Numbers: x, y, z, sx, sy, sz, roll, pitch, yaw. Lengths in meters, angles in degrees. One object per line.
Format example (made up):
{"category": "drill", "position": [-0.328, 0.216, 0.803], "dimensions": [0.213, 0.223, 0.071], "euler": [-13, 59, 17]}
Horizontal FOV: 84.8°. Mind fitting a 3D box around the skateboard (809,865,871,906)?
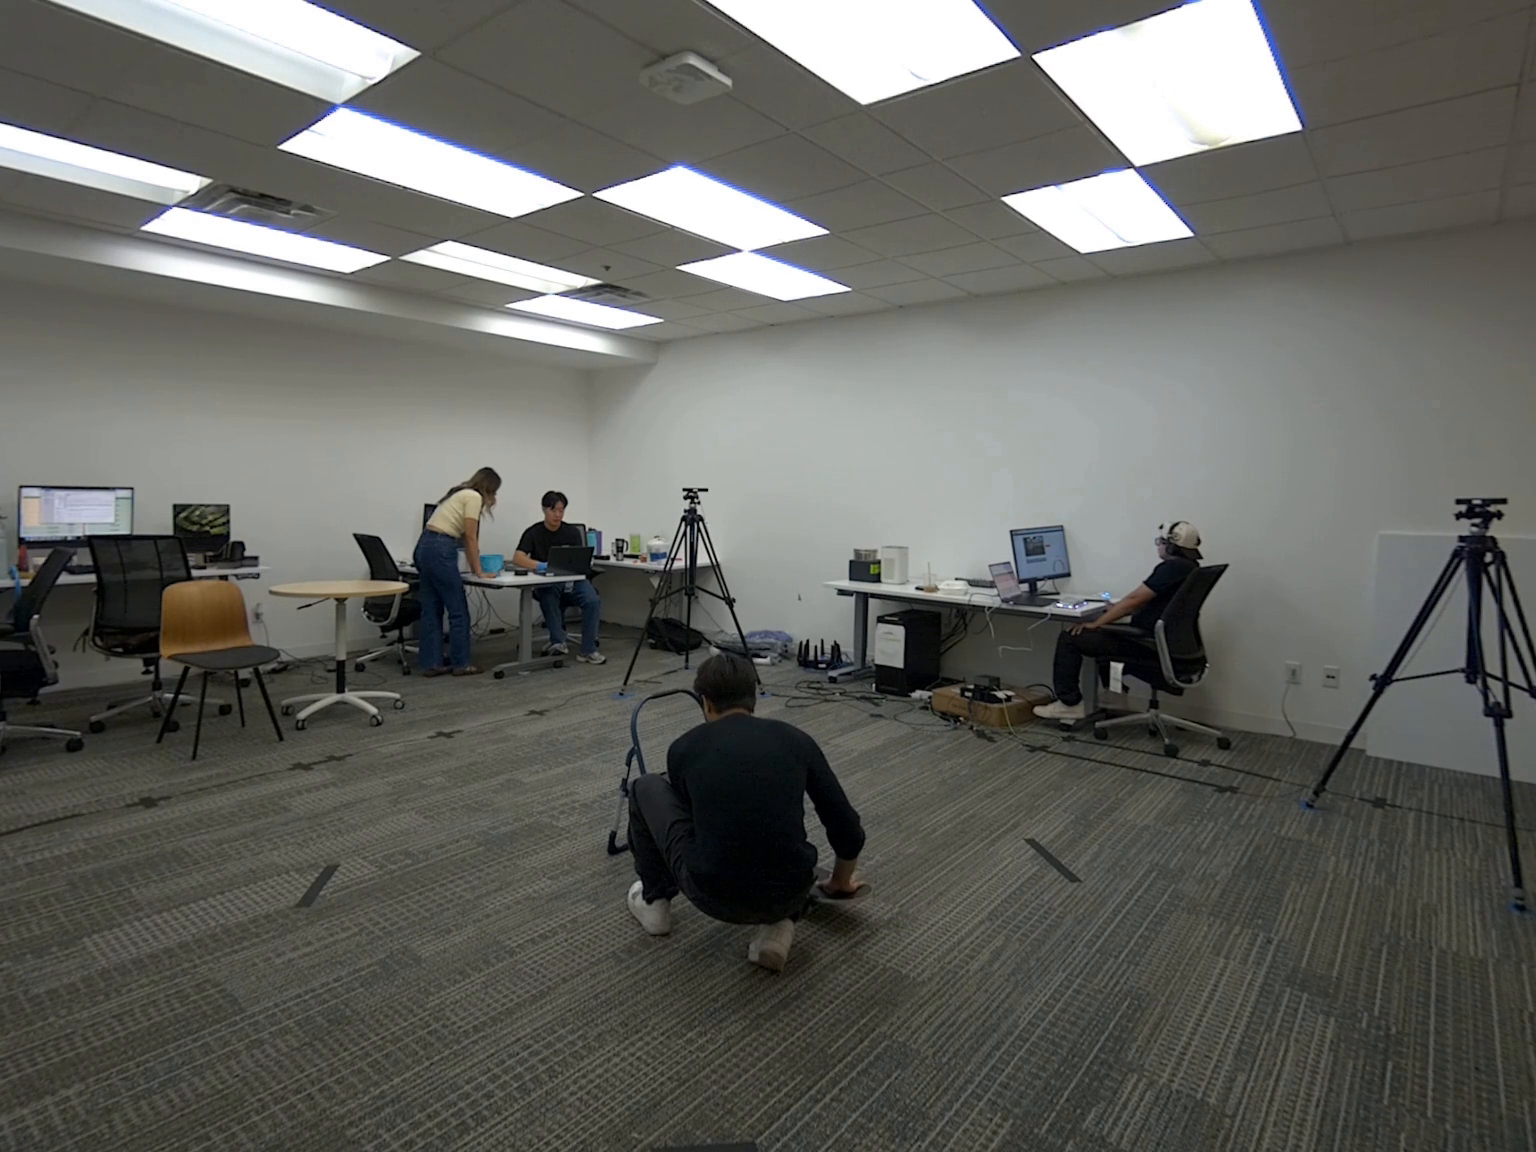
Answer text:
{"category": "skateboard", "position": [-0.013, 1.029, 2.958], "dimensions": [0.812, 0.110, 0.188], "euler": [5, 6, 39]}
